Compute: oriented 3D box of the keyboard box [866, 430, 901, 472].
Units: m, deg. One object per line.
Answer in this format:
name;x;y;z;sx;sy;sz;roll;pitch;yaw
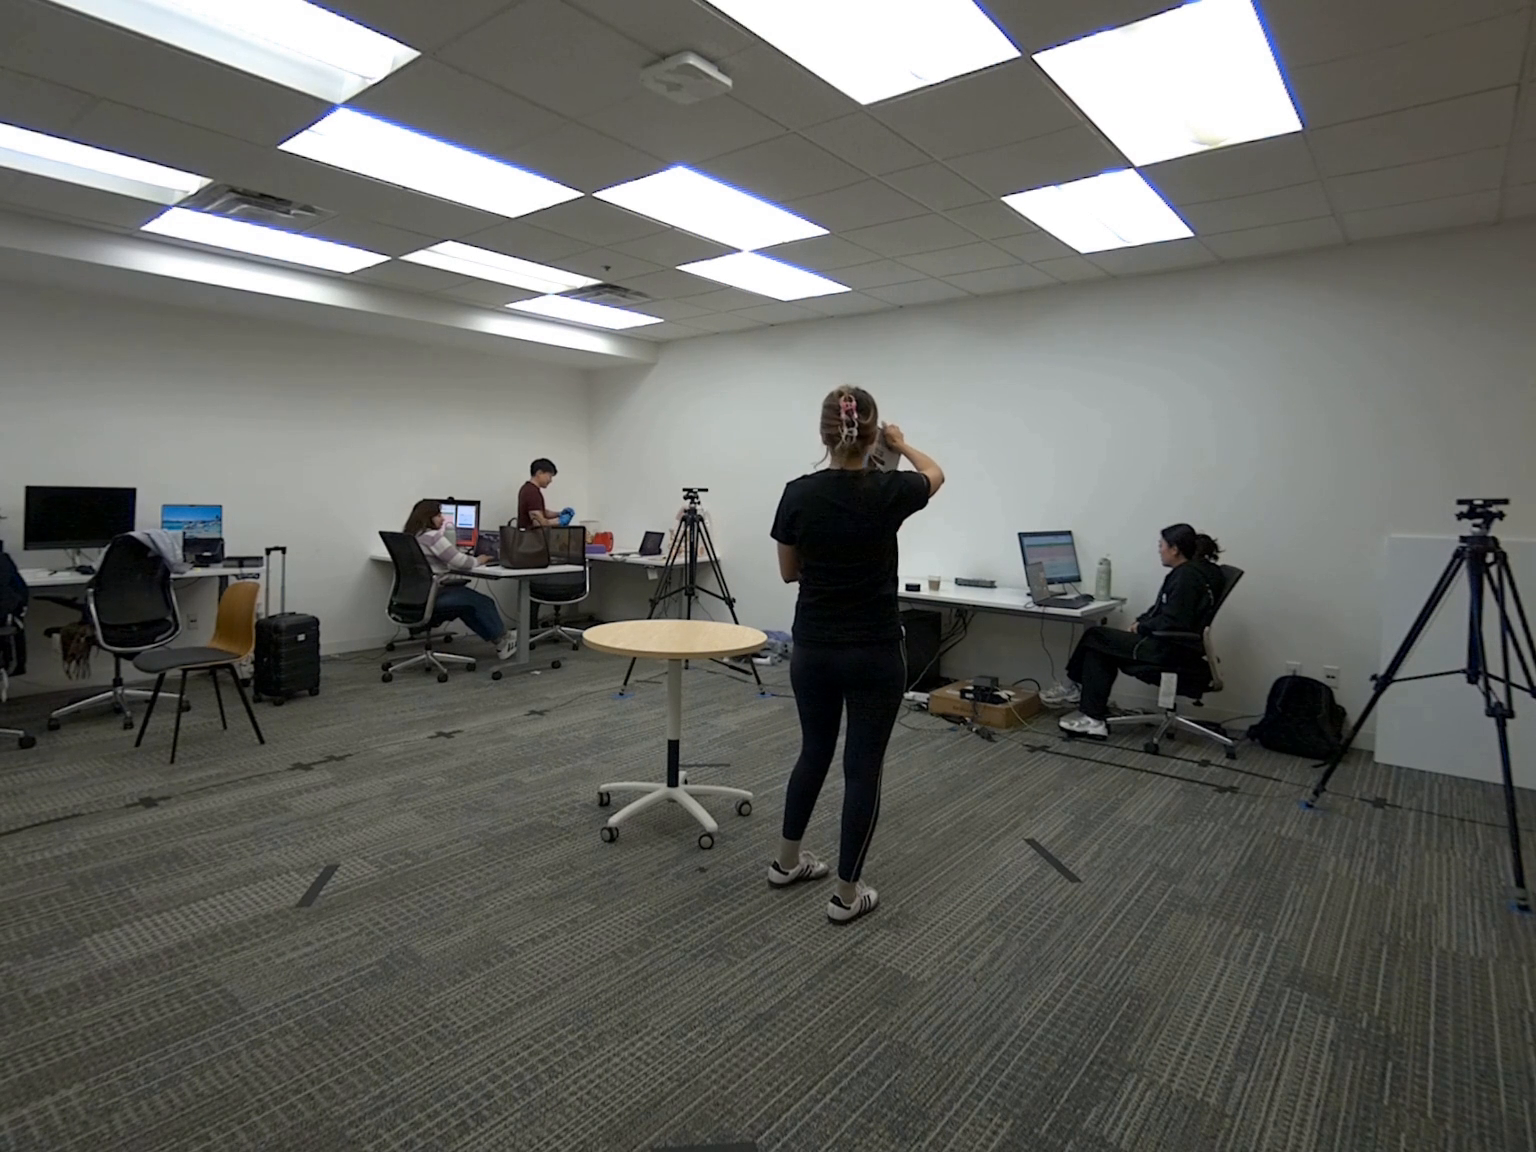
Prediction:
keyboard box;0.361;-0.315;3.104;0.169;0.439;0.061;22;-12;-33
